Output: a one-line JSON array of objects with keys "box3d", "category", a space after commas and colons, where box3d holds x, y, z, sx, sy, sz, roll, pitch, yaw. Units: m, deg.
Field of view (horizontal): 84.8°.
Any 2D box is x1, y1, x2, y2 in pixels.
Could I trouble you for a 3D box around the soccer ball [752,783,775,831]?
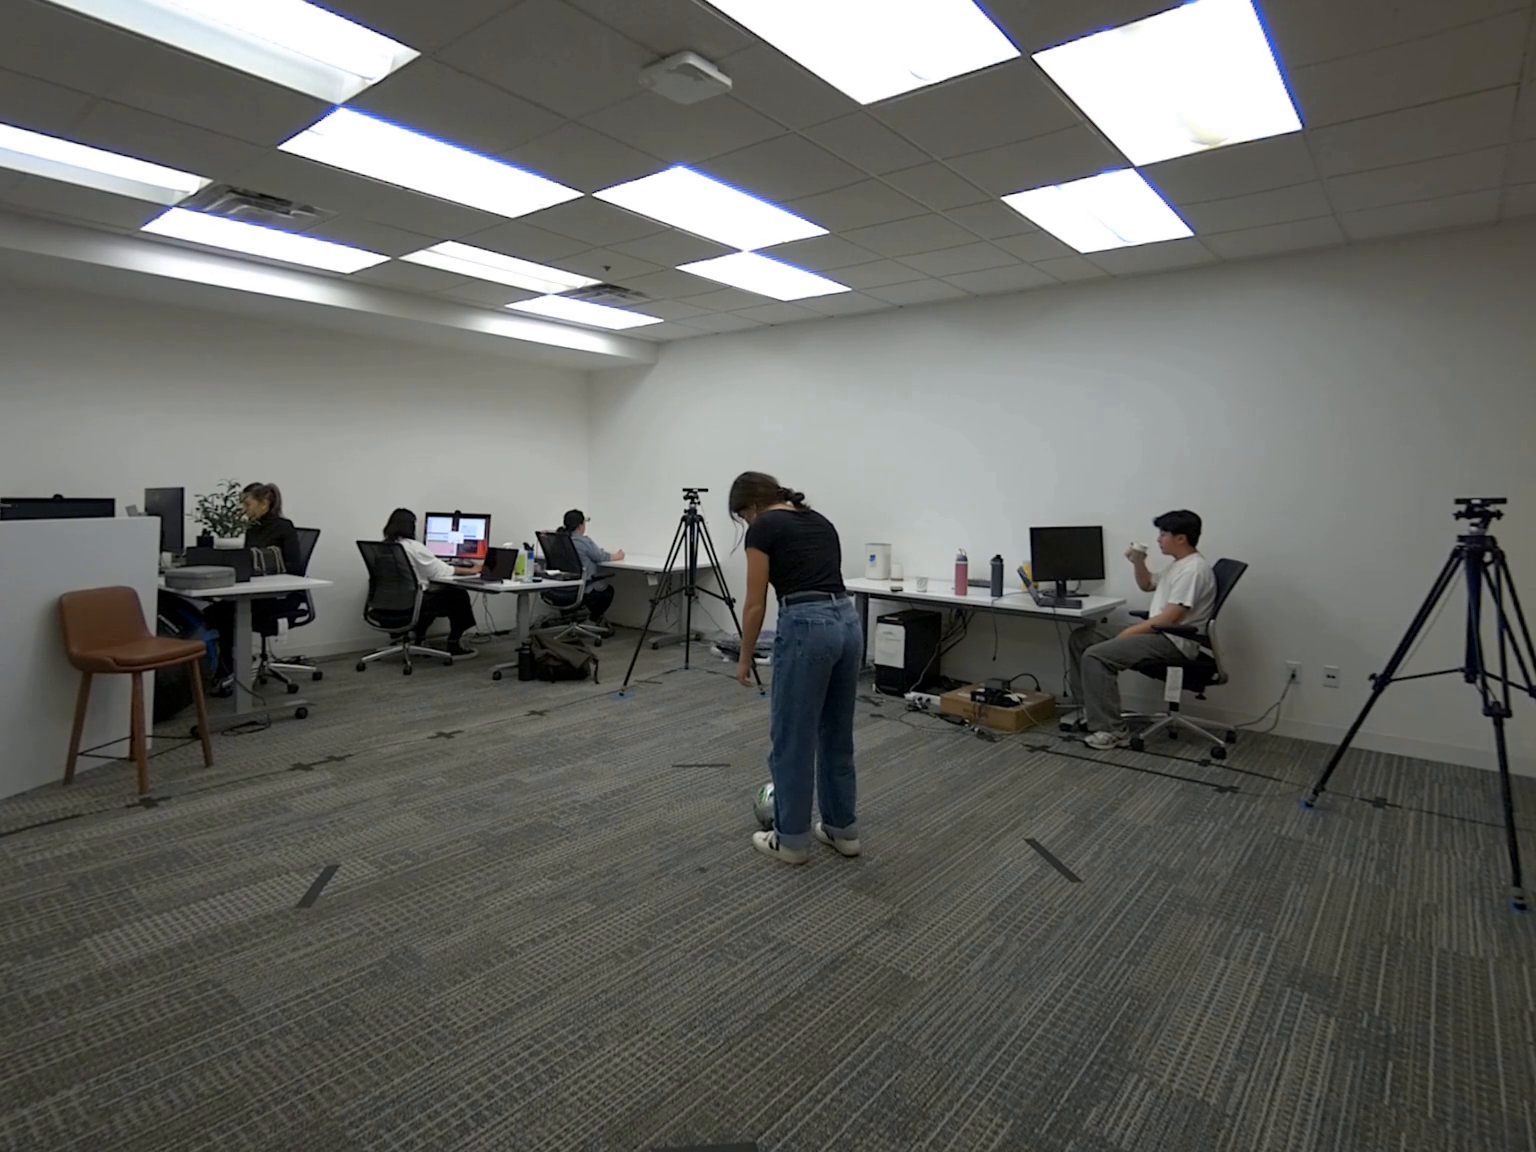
[{"box3d": [0.036, 0.930, 3.499, 0.187, 0.187, 0.188, 1, 4, -2], "category": "soccer ball"}]
